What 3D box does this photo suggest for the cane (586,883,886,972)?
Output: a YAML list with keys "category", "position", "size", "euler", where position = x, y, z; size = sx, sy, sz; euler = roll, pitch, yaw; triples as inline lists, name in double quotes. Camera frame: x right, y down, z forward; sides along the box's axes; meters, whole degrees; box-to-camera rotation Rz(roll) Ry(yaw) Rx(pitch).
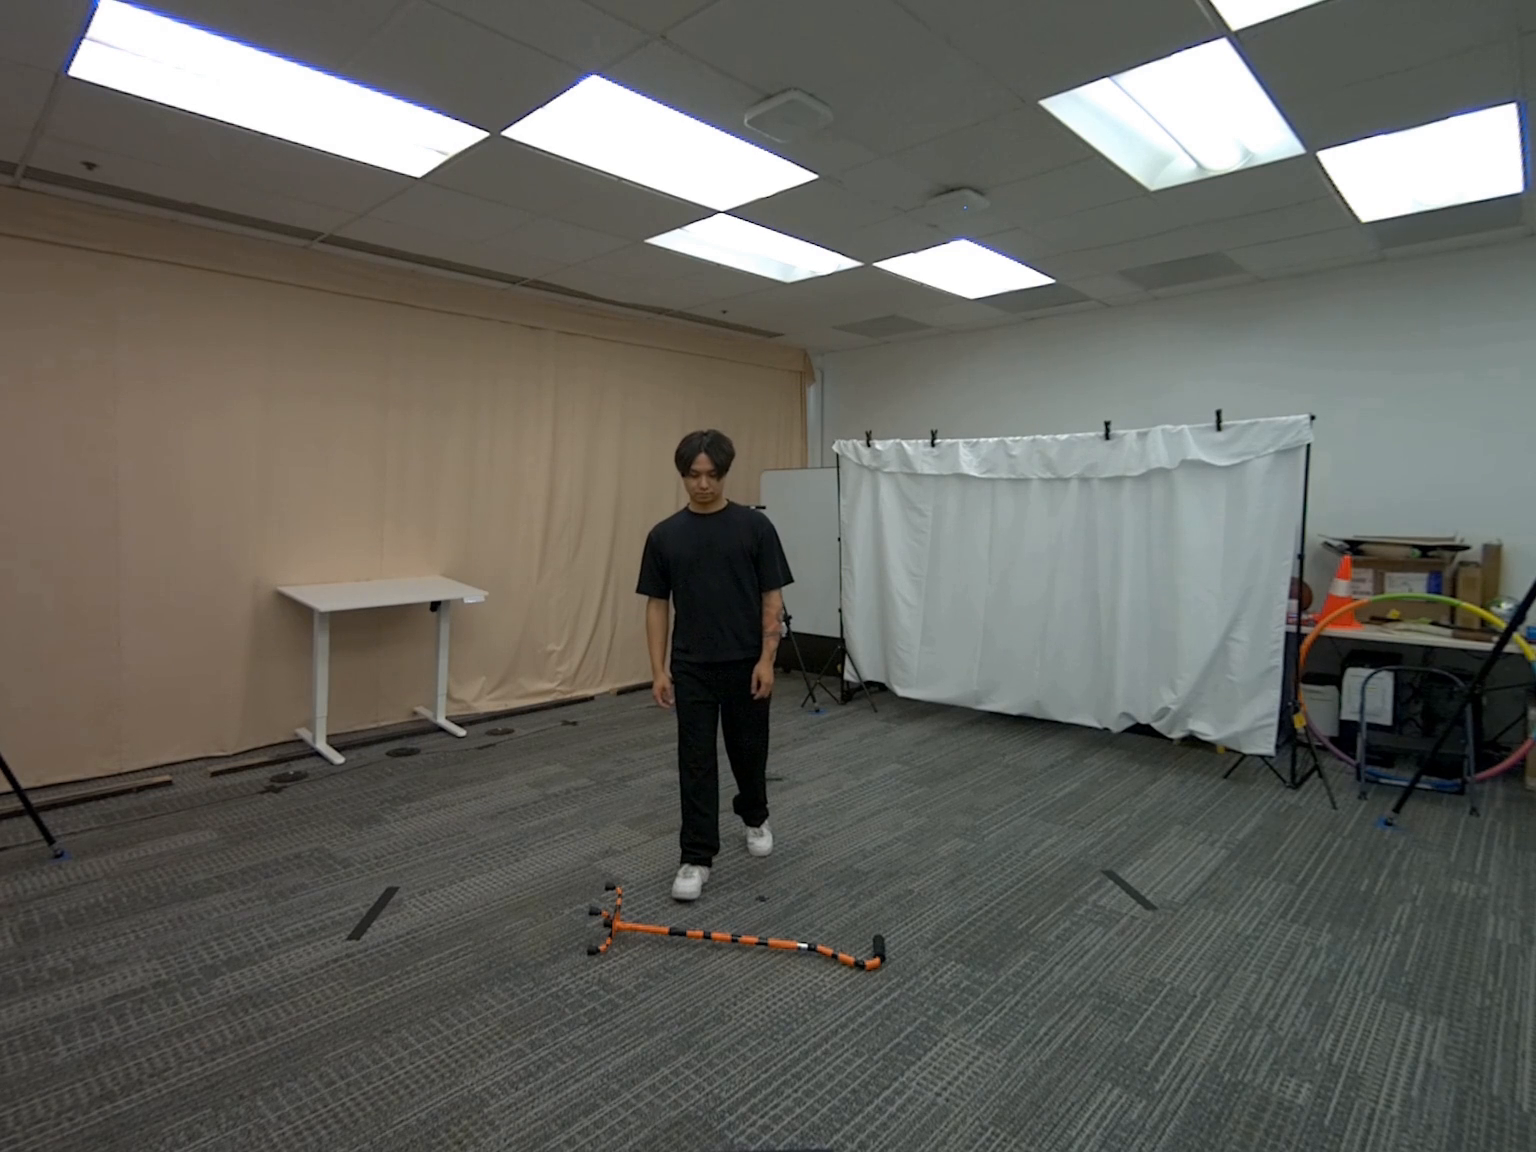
- category: "cane"
  position: [-0.090, 1.121, 2.630]
  size: [0.916, 0.151, 0.205]
  euler: [4, 5, 8]
